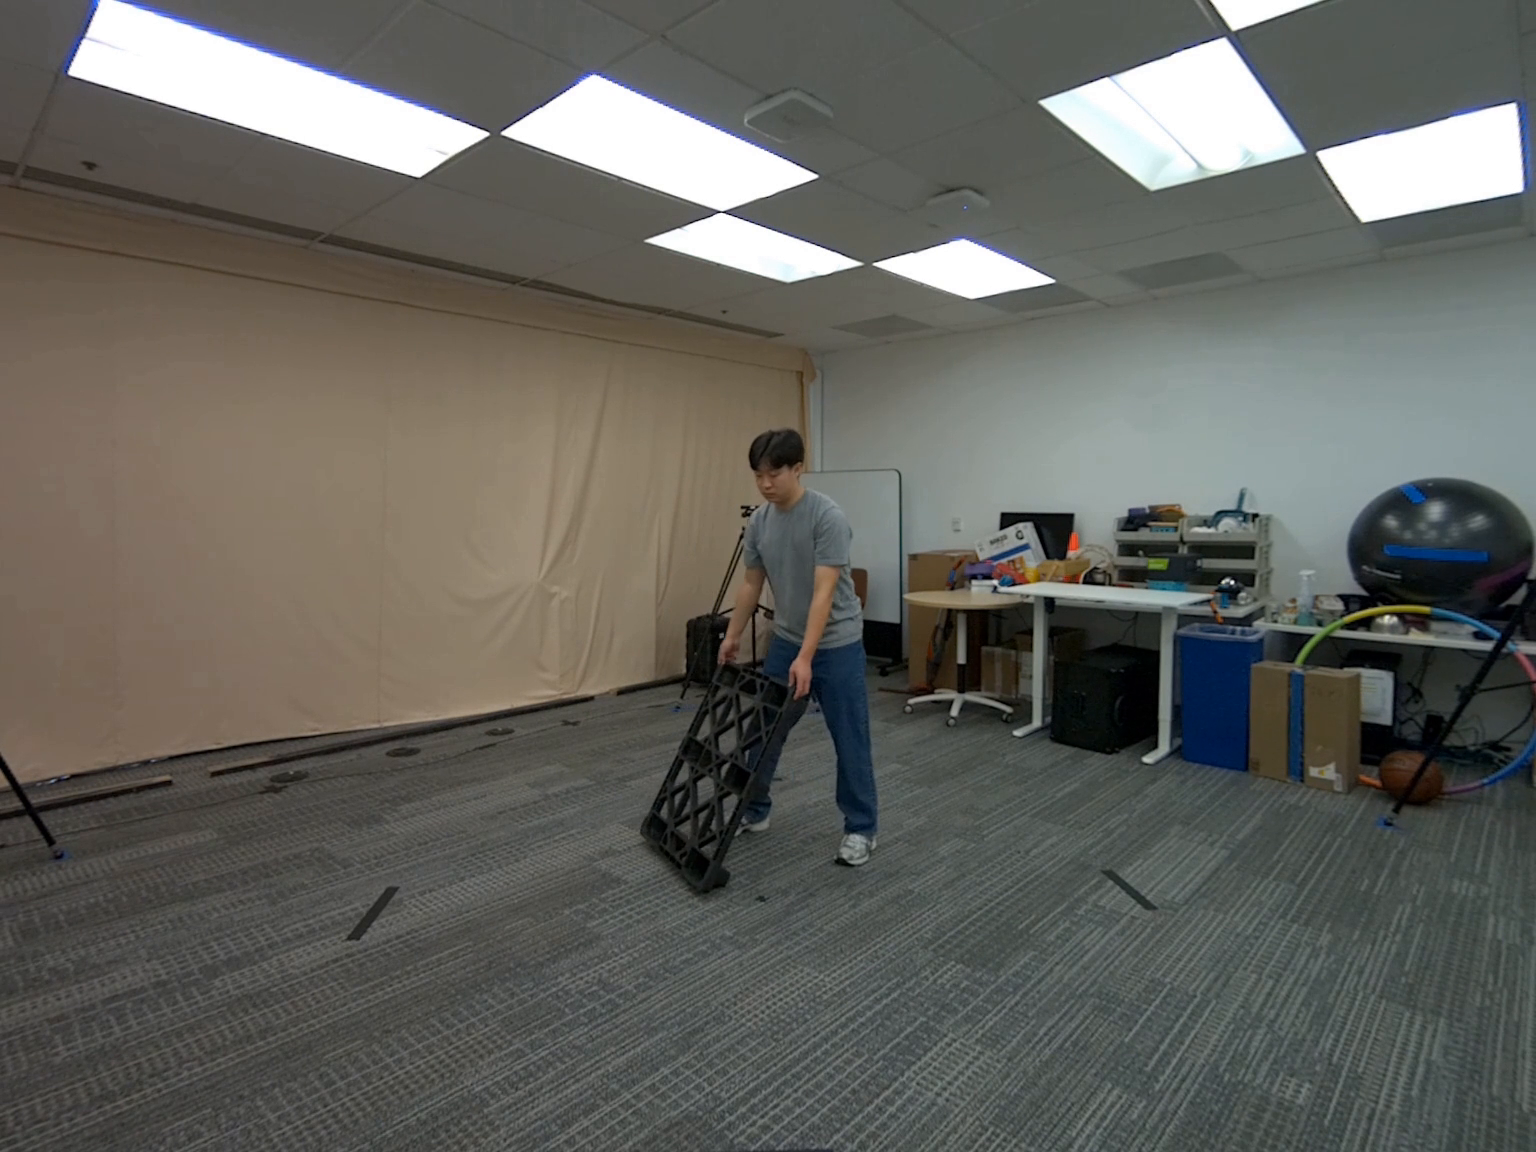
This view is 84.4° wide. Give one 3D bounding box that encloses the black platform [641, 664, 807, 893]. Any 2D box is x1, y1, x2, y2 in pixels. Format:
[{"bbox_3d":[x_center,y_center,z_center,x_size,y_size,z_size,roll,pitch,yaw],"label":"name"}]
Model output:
[{"bbox_3d":[-0.169,0.767,3.317,0.139,0.806,0.621,30,-10,-26],"label":"black platform"}]
